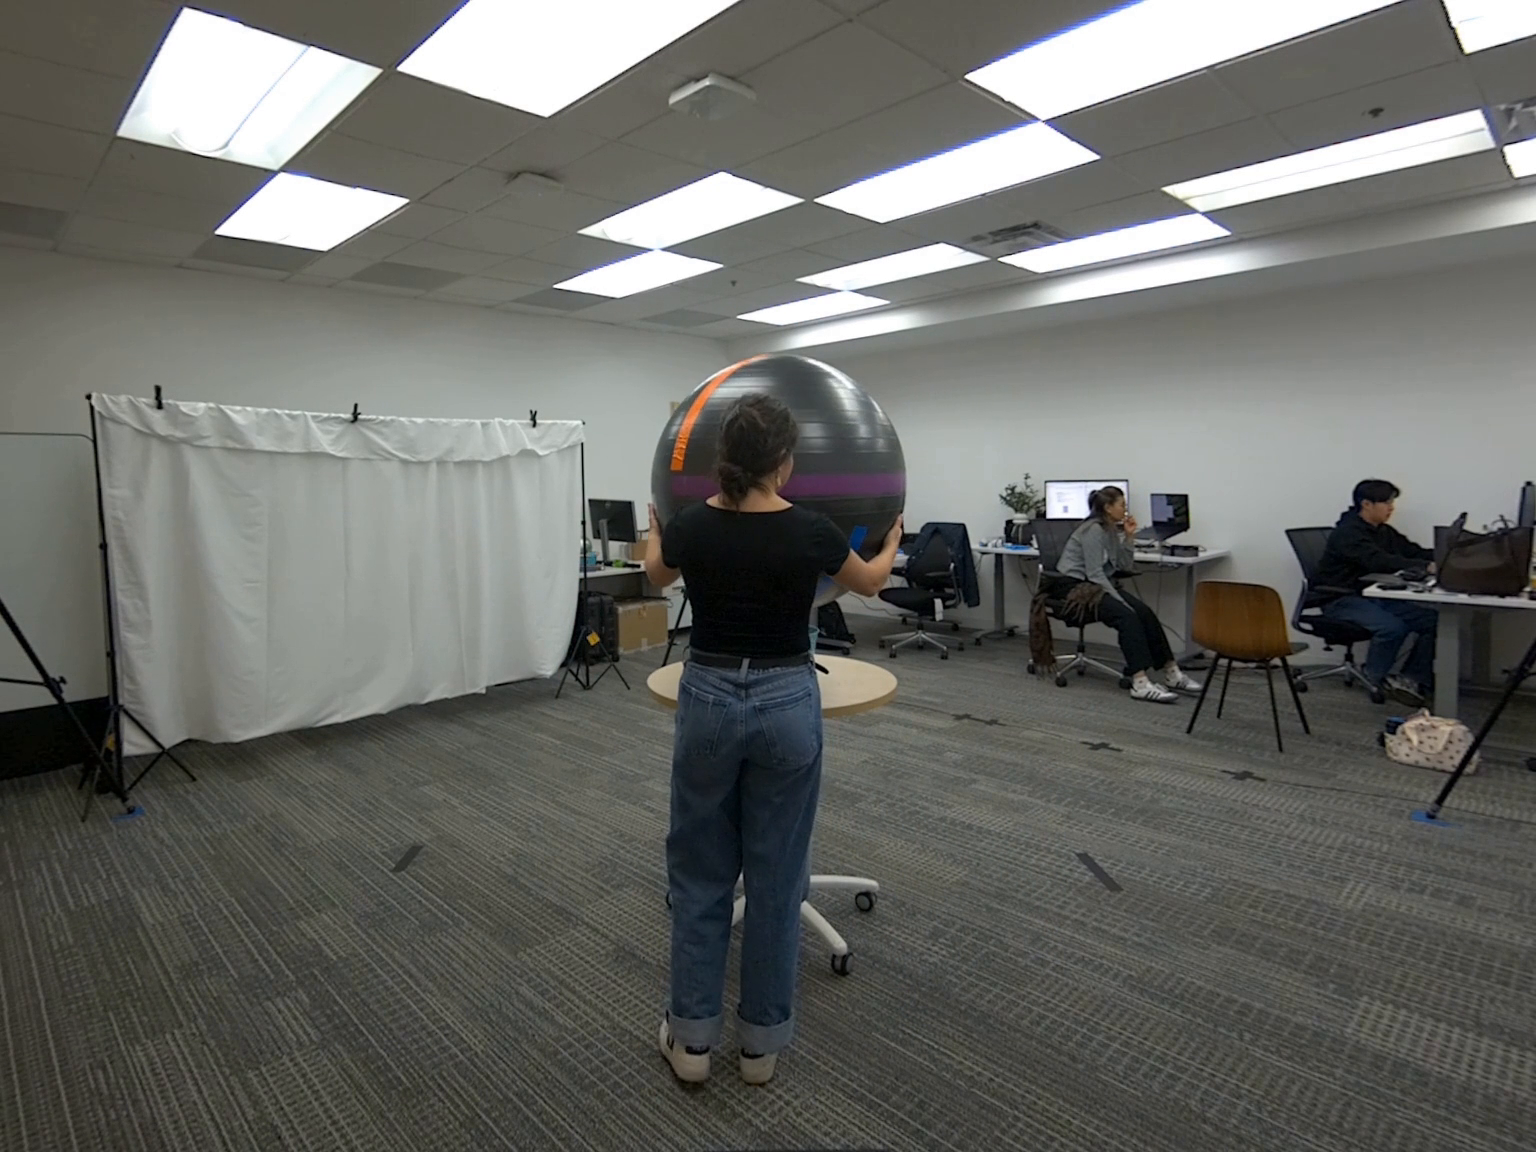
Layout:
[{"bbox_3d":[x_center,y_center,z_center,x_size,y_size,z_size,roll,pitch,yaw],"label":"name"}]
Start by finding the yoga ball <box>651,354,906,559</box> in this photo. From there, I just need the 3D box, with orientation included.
[{"bbox_3d":[0.025,-0.269,2.542,0.757,0.755,0.762,-1,5,-2],"label":"yoga ball"}]
